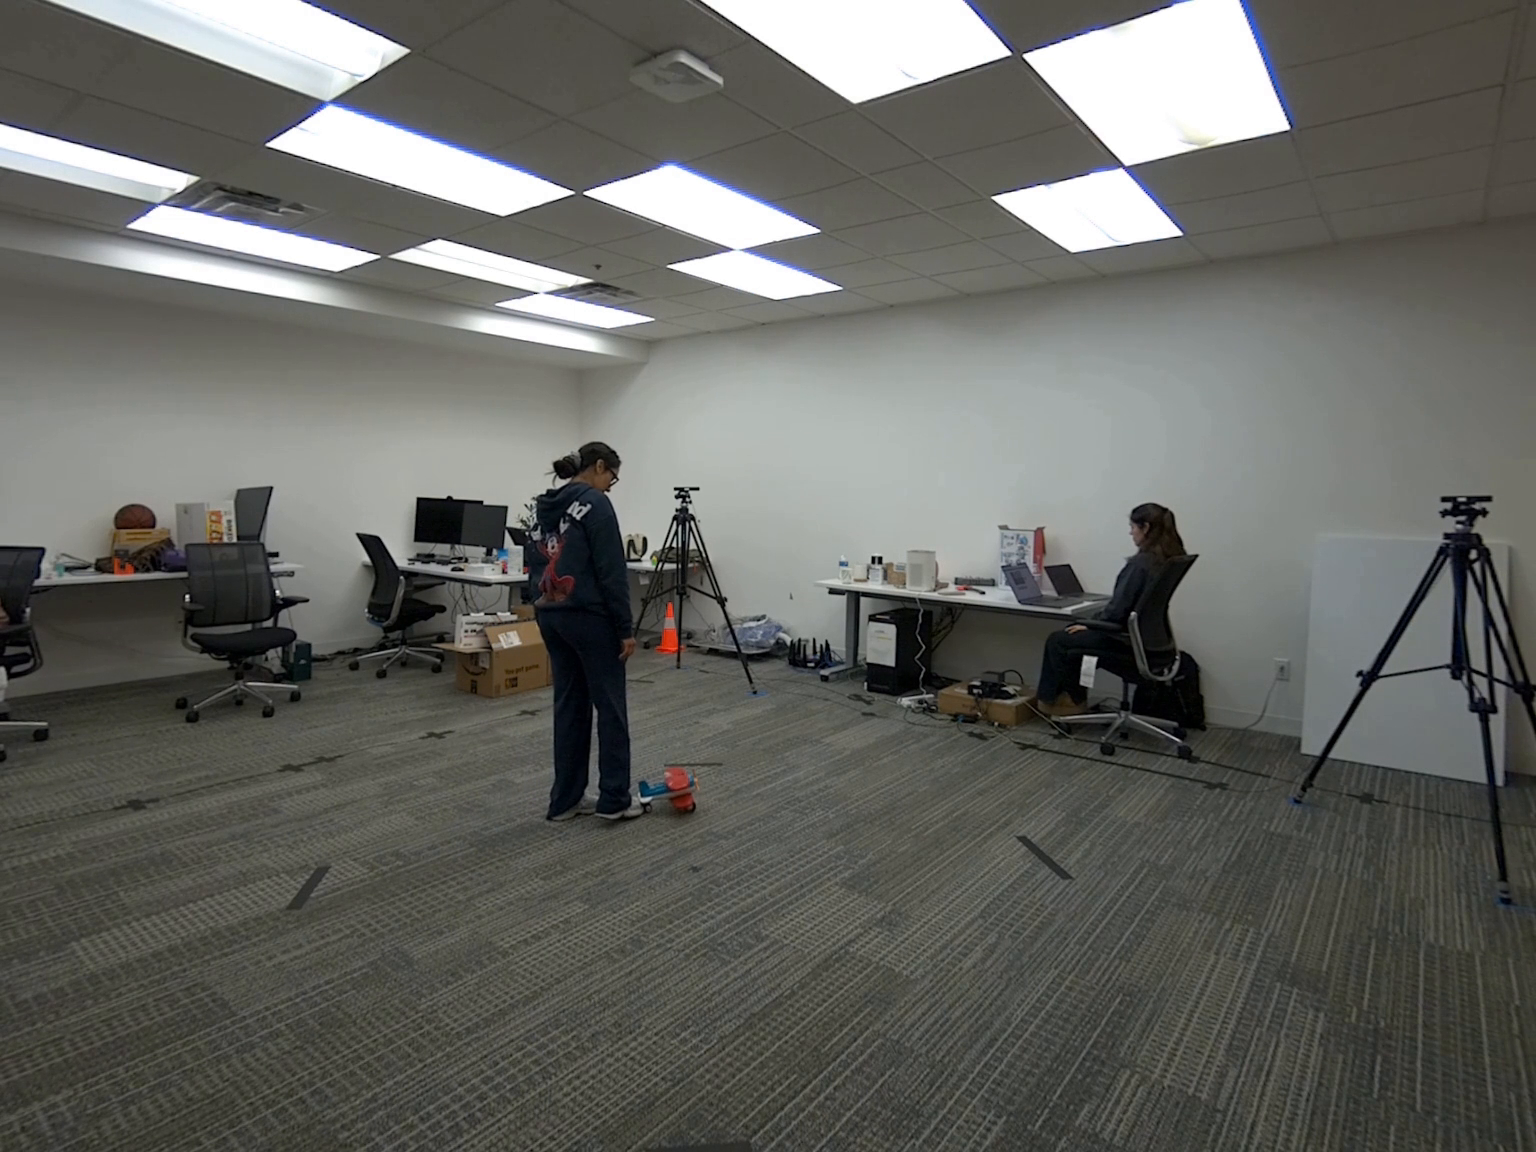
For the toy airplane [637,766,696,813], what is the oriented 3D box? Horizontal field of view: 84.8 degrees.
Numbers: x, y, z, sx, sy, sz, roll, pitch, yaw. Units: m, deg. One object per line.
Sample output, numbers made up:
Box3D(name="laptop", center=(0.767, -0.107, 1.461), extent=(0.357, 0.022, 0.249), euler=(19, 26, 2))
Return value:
Box3D(name="toy airplane", center=(-0.434, 0.937, 3.648), extent=(0.251, 0.156, 0.260), euler=(0, 5, -43))
